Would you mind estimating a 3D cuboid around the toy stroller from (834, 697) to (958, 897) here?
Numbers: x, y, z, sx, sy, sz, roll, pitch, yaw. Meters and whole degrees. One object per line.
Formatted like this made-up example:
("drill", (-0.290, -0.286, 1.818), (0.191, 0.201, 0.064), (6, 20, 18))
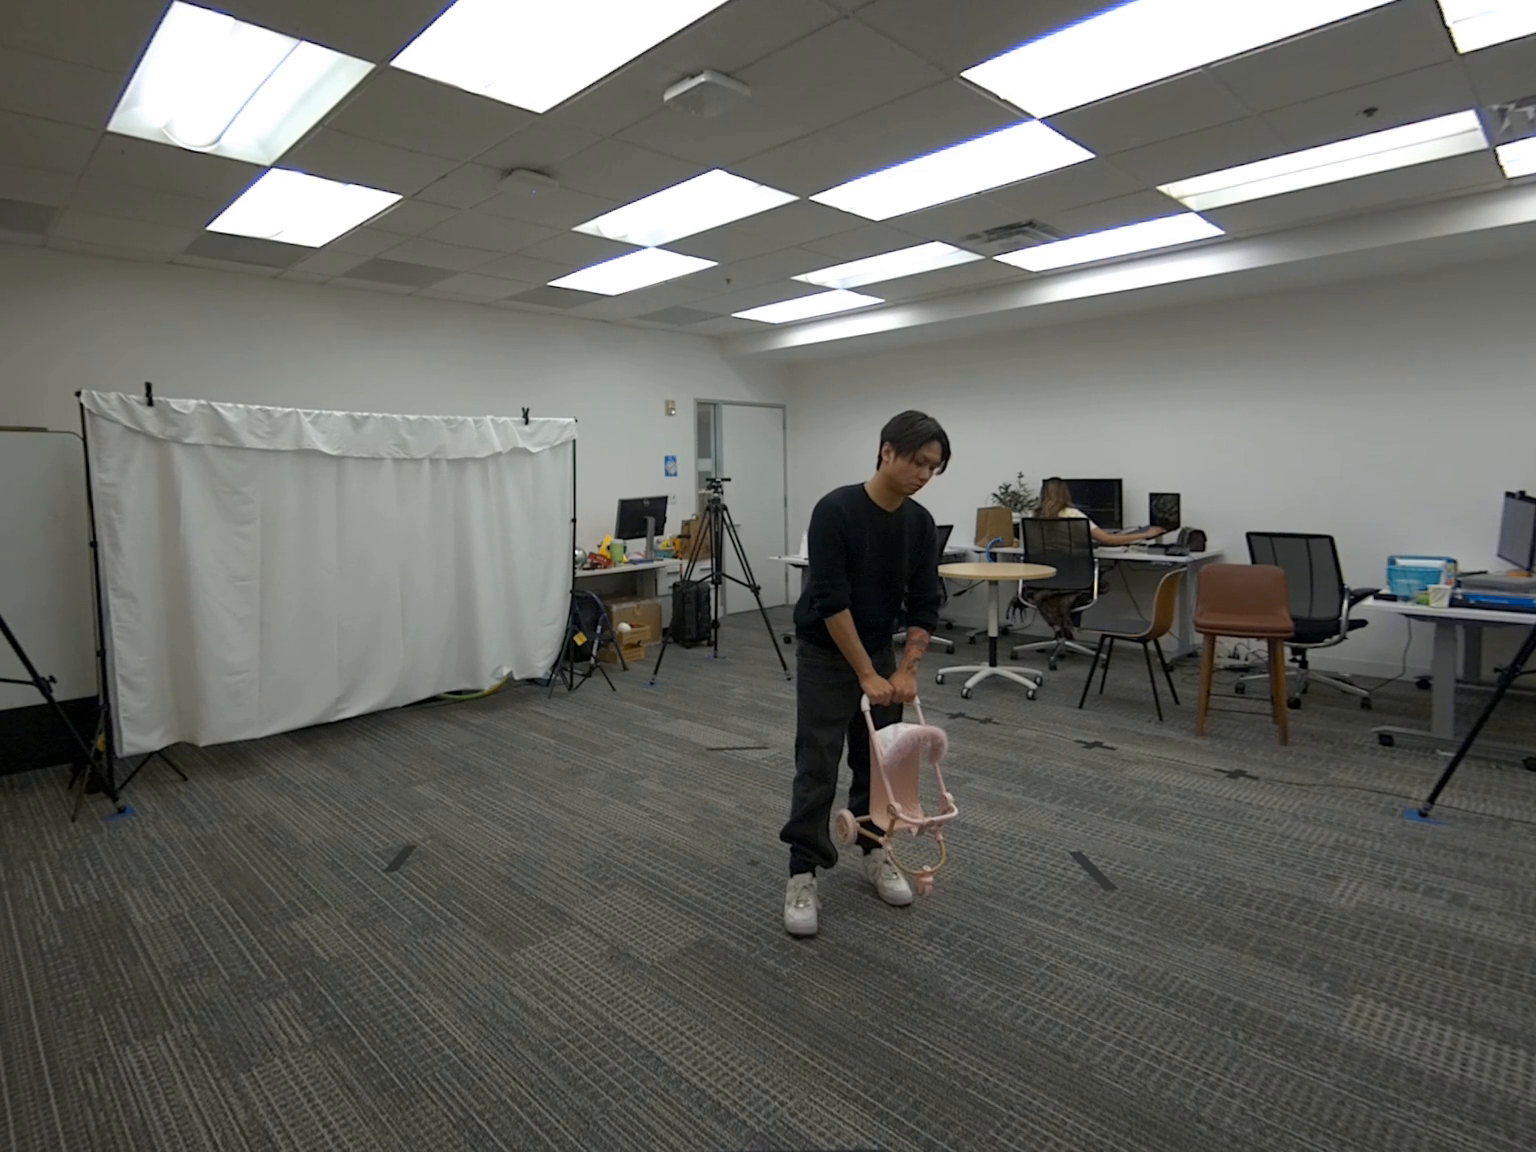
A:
("toy stroller", (0.417, 0.657, 2.549), (0.276, 0.530, 0.352), (-1, 13, -23))
